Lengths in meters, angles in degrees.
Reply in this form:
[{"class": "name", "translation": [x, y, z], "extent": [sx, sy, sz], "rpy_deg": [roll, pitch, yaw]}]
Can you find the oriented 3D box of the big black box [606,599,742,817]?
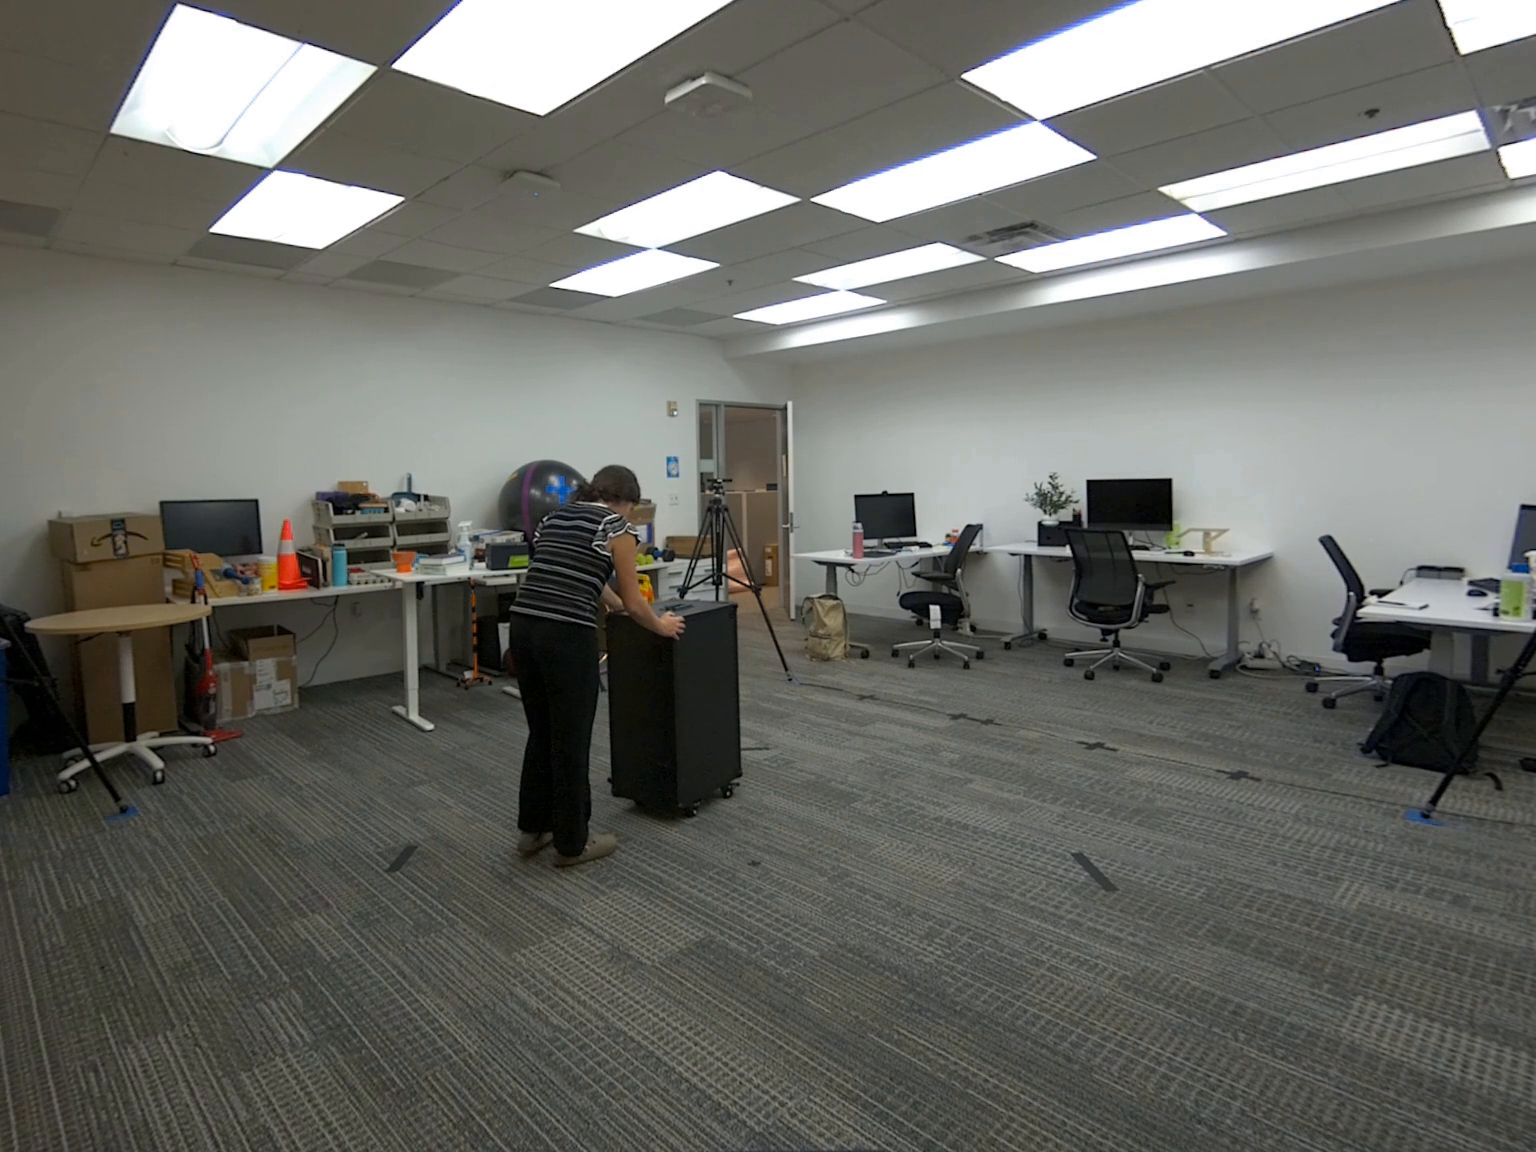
[{"class": "big black box", "translation": [-0.406, 0.563, 3.704], "extent": [0.407, 0.859, 0.509], "rpy_deg": [0, 4, 32]}]
